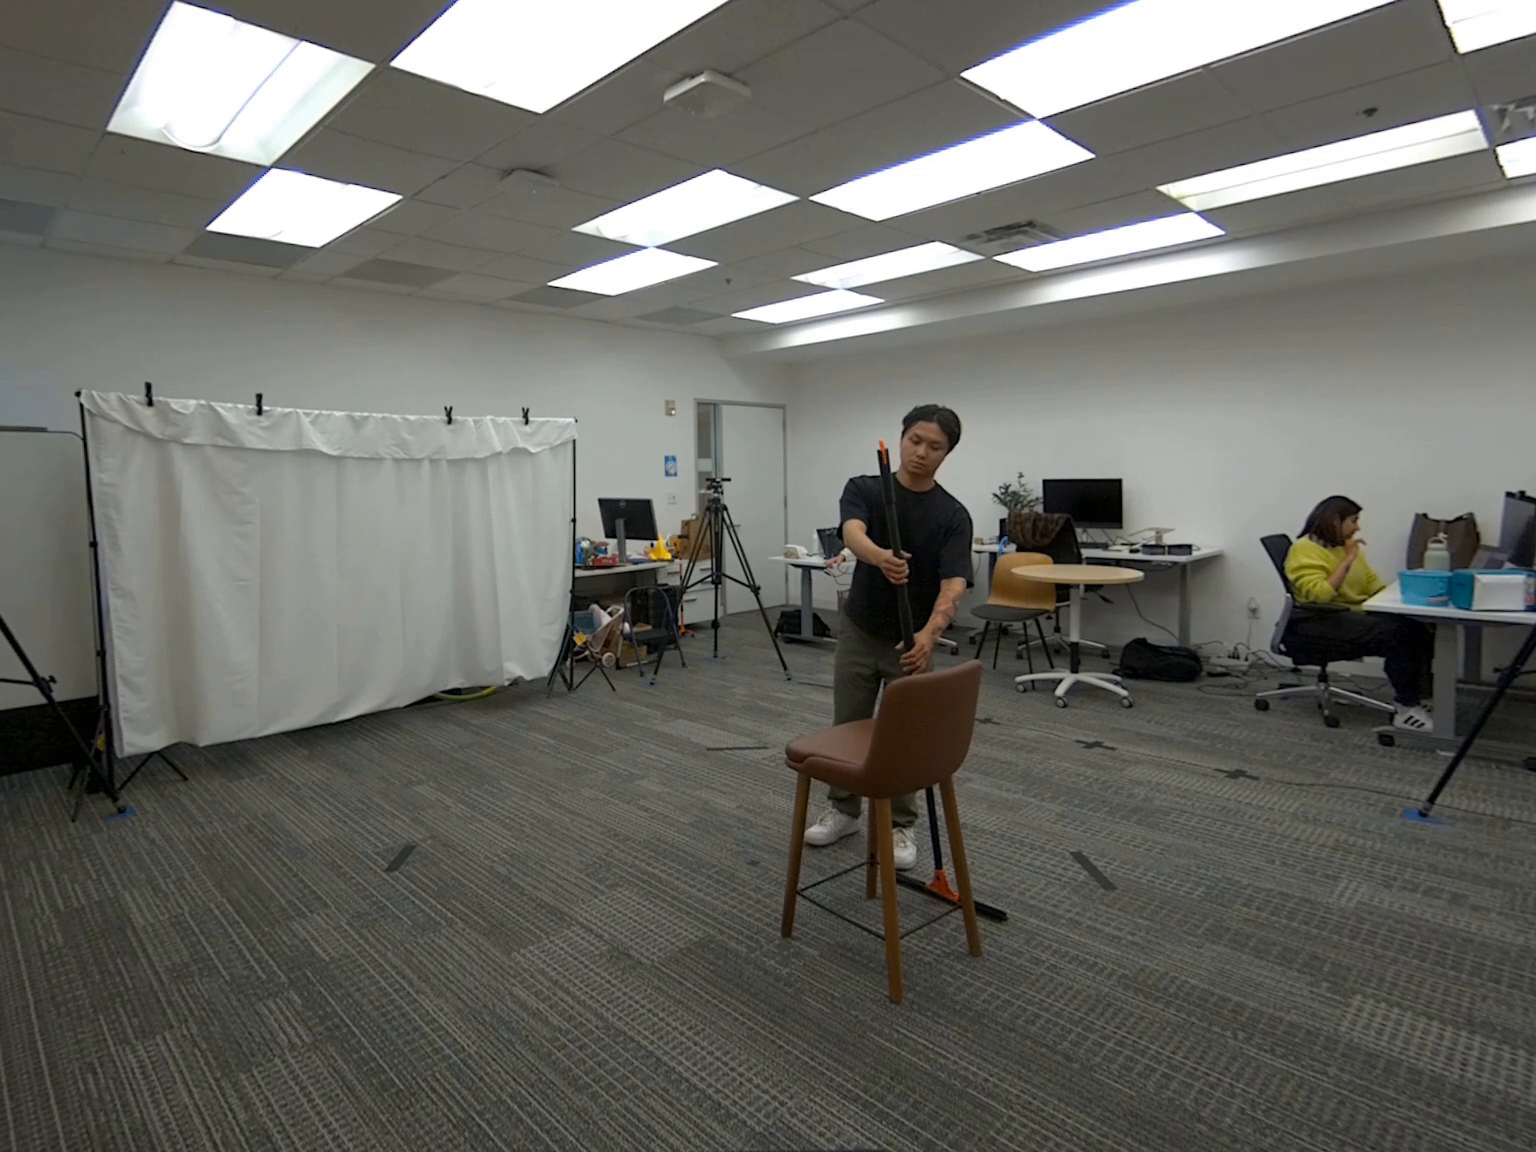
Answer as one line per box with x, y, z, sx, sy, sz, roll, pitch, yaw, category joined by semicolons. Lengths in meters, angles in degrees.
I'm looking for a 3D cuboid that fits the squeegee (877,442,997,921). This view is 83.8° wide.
0.478;0.332;2.673;0.052;1.519;0.452;-13;15;-35;squeegee
